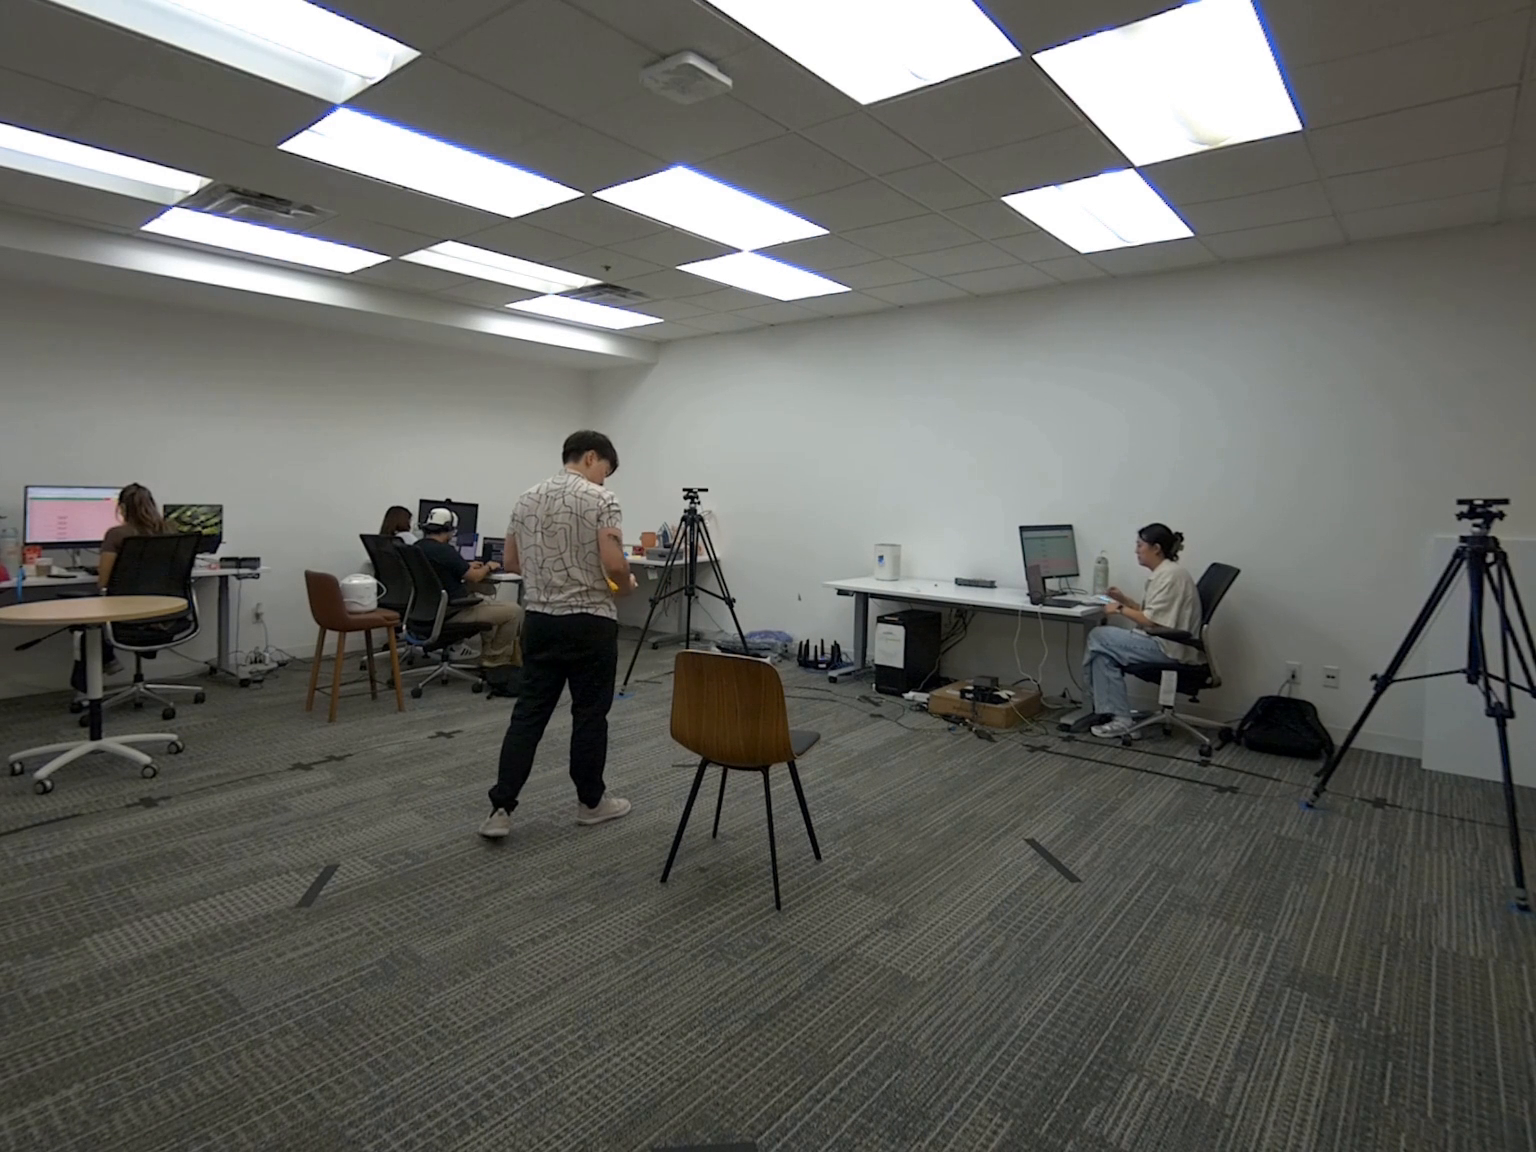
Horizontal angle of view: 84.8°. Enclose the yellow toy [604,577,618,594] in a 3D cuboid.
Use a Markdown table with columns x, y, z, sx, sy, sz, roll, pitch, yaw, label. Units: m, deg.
| x | y | z | sx | sy | sz | roll | pitch | yaw | label |
| --- | --- | --- | --- | --- | --- | --- | --- | --- | --- |
| -0.704 | -0.037 | 3.652 | 0.188 | 0.233 | 0.208 | -10 | -8 | -42 | yellow toy |
